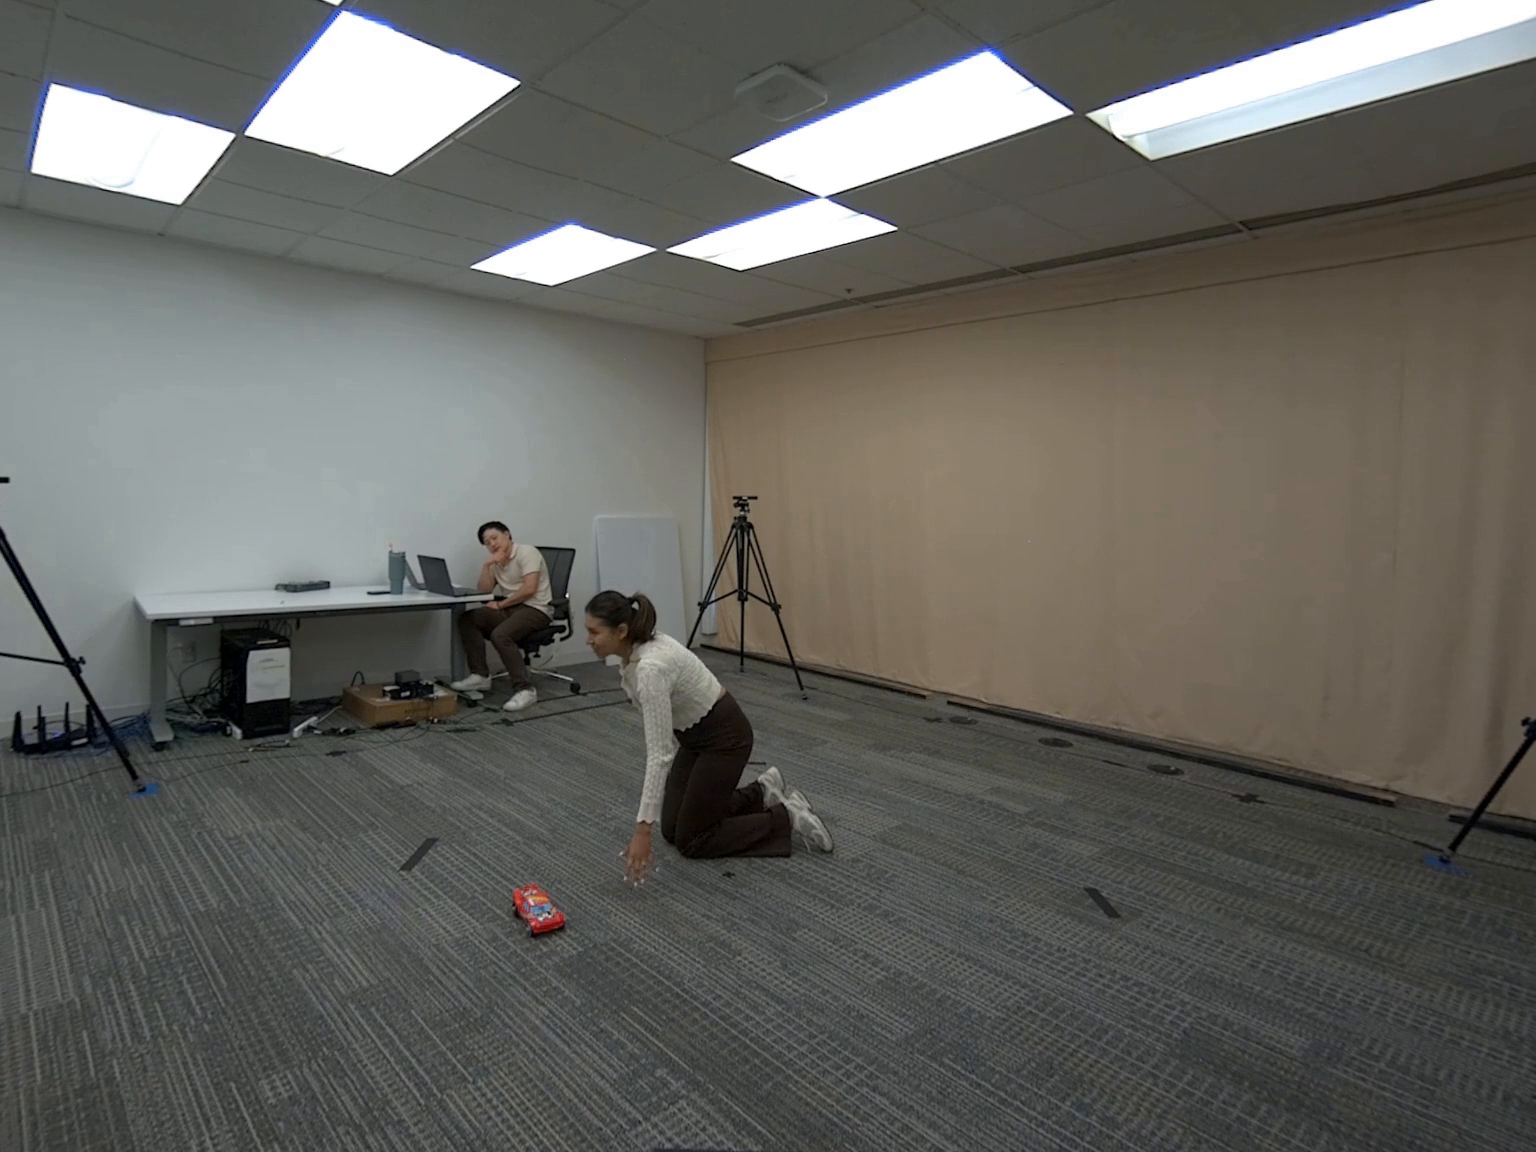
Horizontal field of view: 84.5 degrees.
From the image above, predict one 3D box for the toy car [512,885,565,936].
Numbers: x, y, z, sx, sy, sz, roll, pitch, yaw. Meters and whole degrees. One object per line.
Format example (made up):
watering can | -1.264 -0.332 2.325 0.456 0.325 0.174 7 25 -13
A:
toy car | -0.764 1.090 2.744 0.127 0.082 0.262 -2 17 -32
